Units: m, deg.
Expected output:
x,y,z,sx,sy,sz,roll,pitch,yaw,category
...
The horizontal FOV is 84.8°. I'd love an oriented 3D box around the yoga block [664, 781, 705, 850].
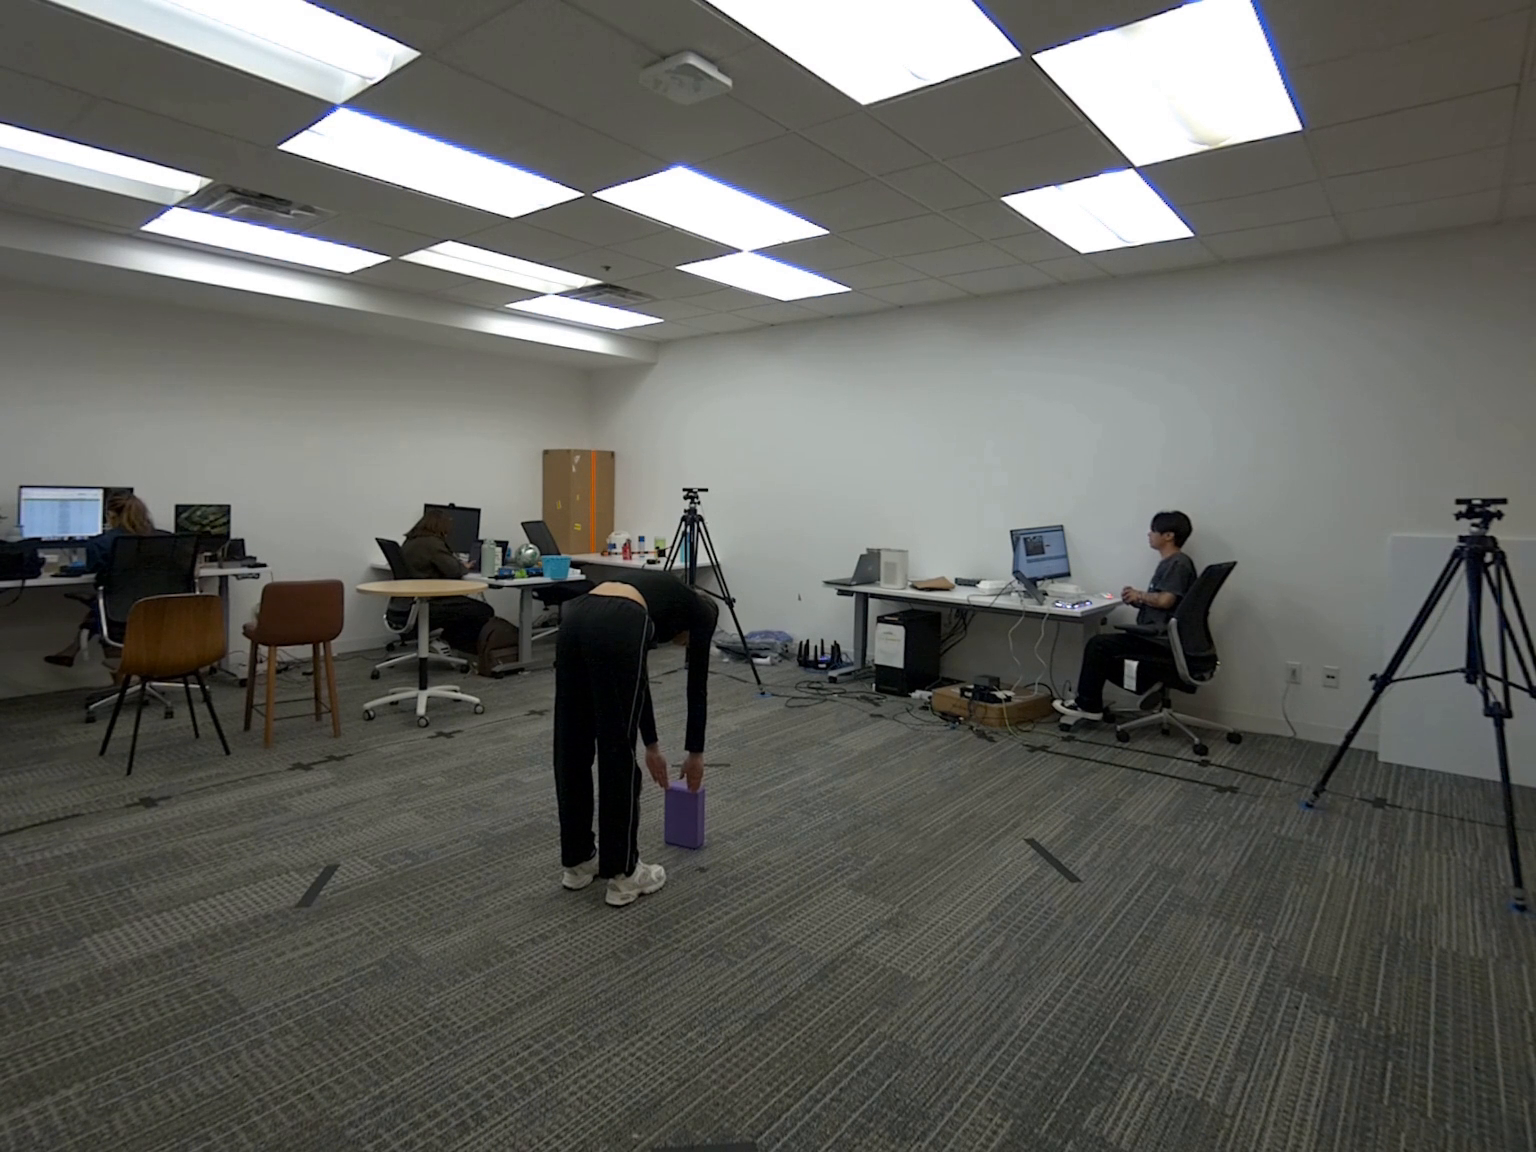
x,y,z,sx,sy,sz,roll,pitch,yaw,category
-0.340,0.932,3.330,0.152,0.228,0.075,2,4,24,yoga block
